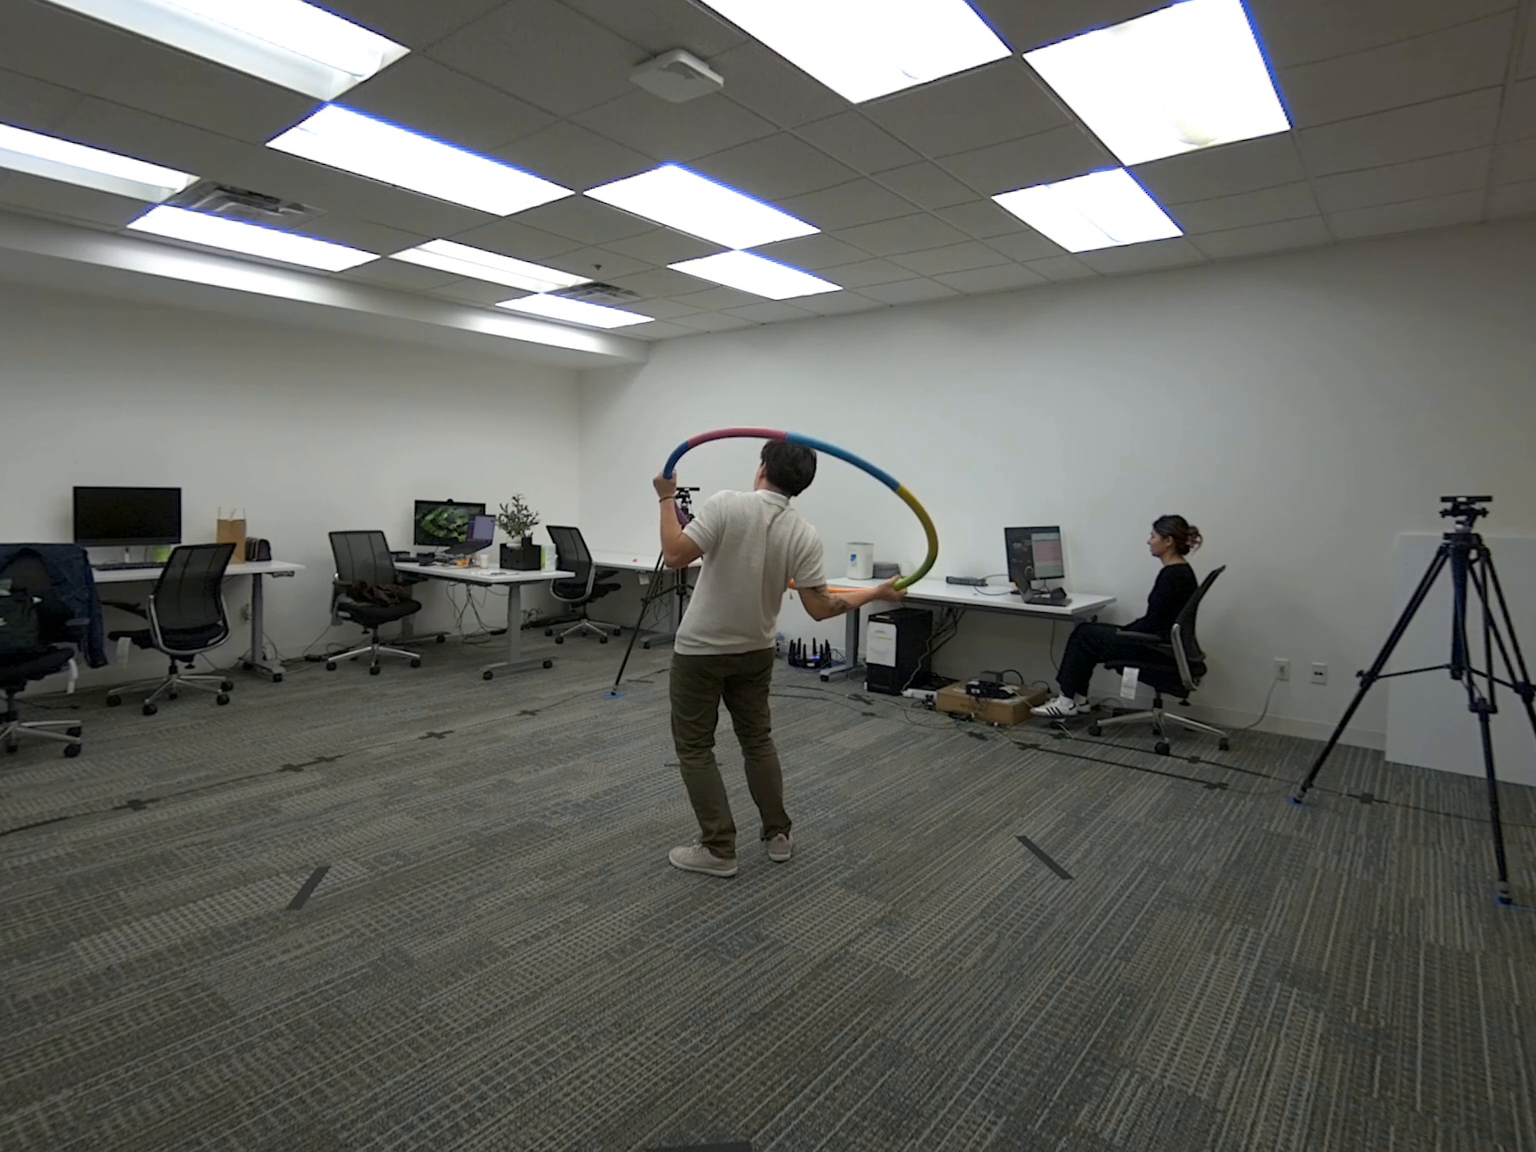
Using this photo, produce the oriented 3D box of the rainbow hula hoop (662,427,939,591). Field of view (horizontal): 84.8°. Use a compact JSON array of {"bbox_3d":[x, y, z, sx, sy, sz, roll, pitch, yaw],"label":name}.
[{"bbox_3d":[0.076,-0.182,2.978,0.990,0.036,0.956,18,-27,8],"label":"rainbow hula hoop"}]
